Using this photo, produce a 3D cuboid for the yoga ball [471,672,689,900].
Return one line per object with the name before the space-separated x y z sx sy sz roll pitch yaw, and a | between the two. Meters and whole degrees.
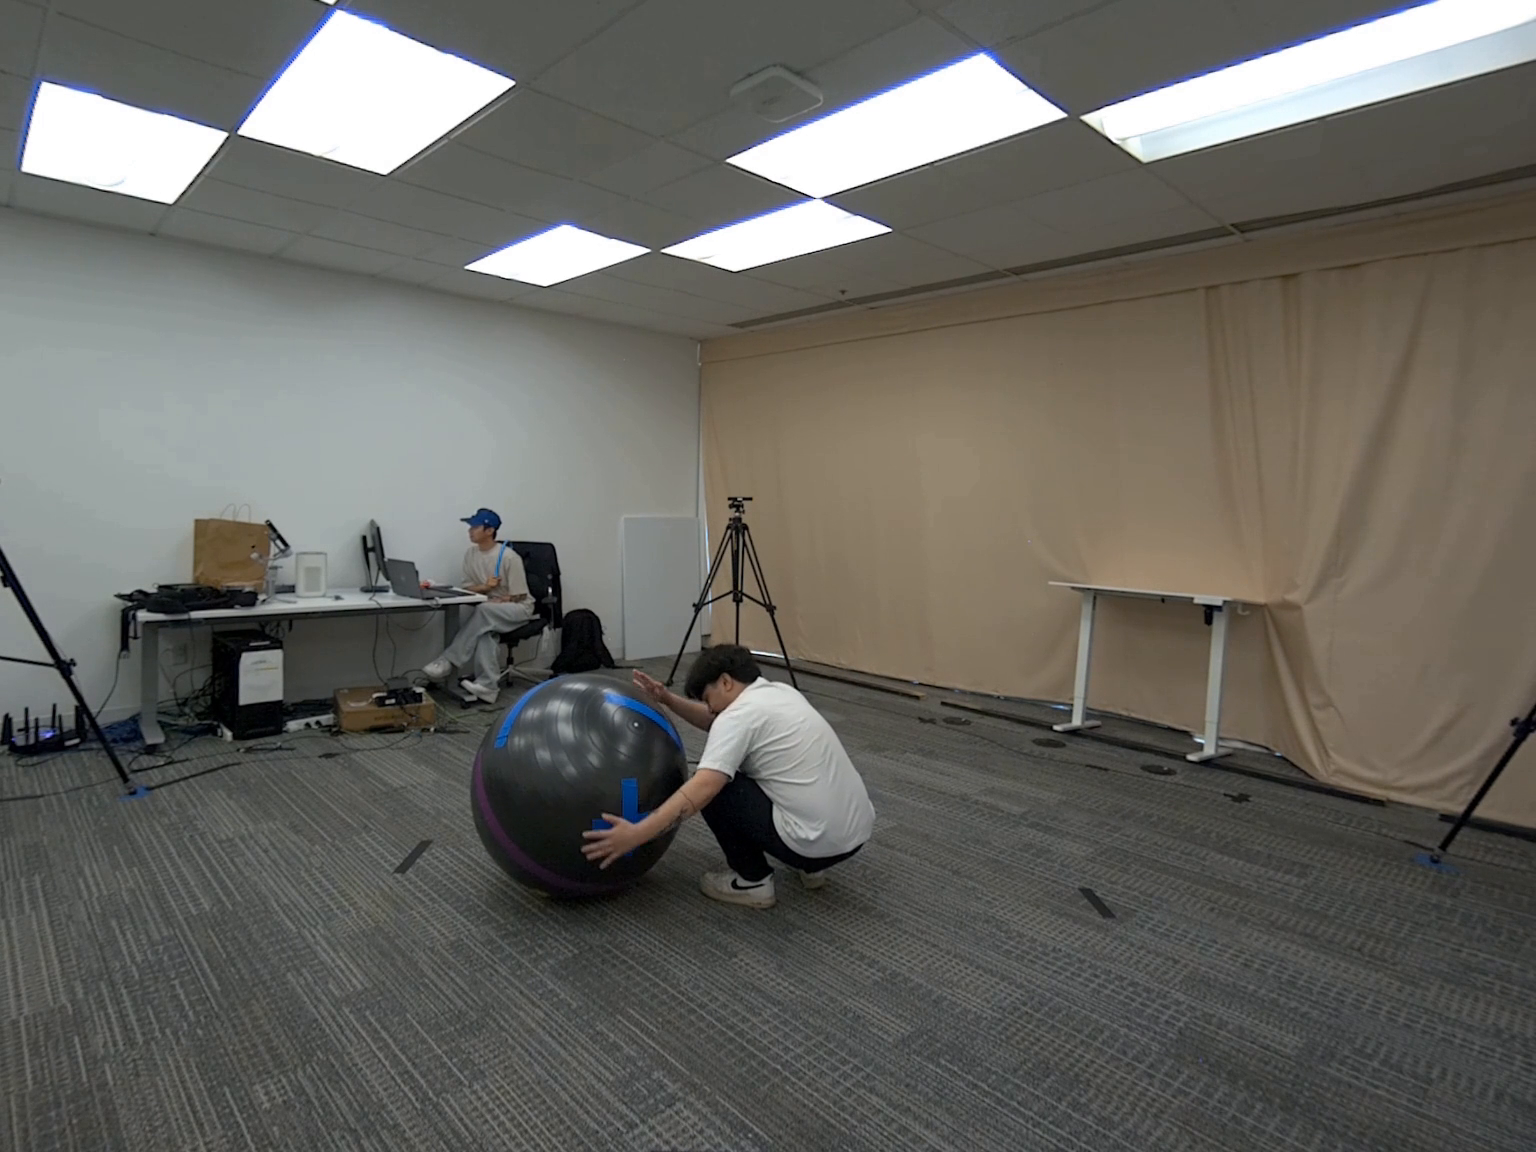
yoga ball | -0.670 0.735 2.973 0.757 0.756 0.760 1 4 -1
